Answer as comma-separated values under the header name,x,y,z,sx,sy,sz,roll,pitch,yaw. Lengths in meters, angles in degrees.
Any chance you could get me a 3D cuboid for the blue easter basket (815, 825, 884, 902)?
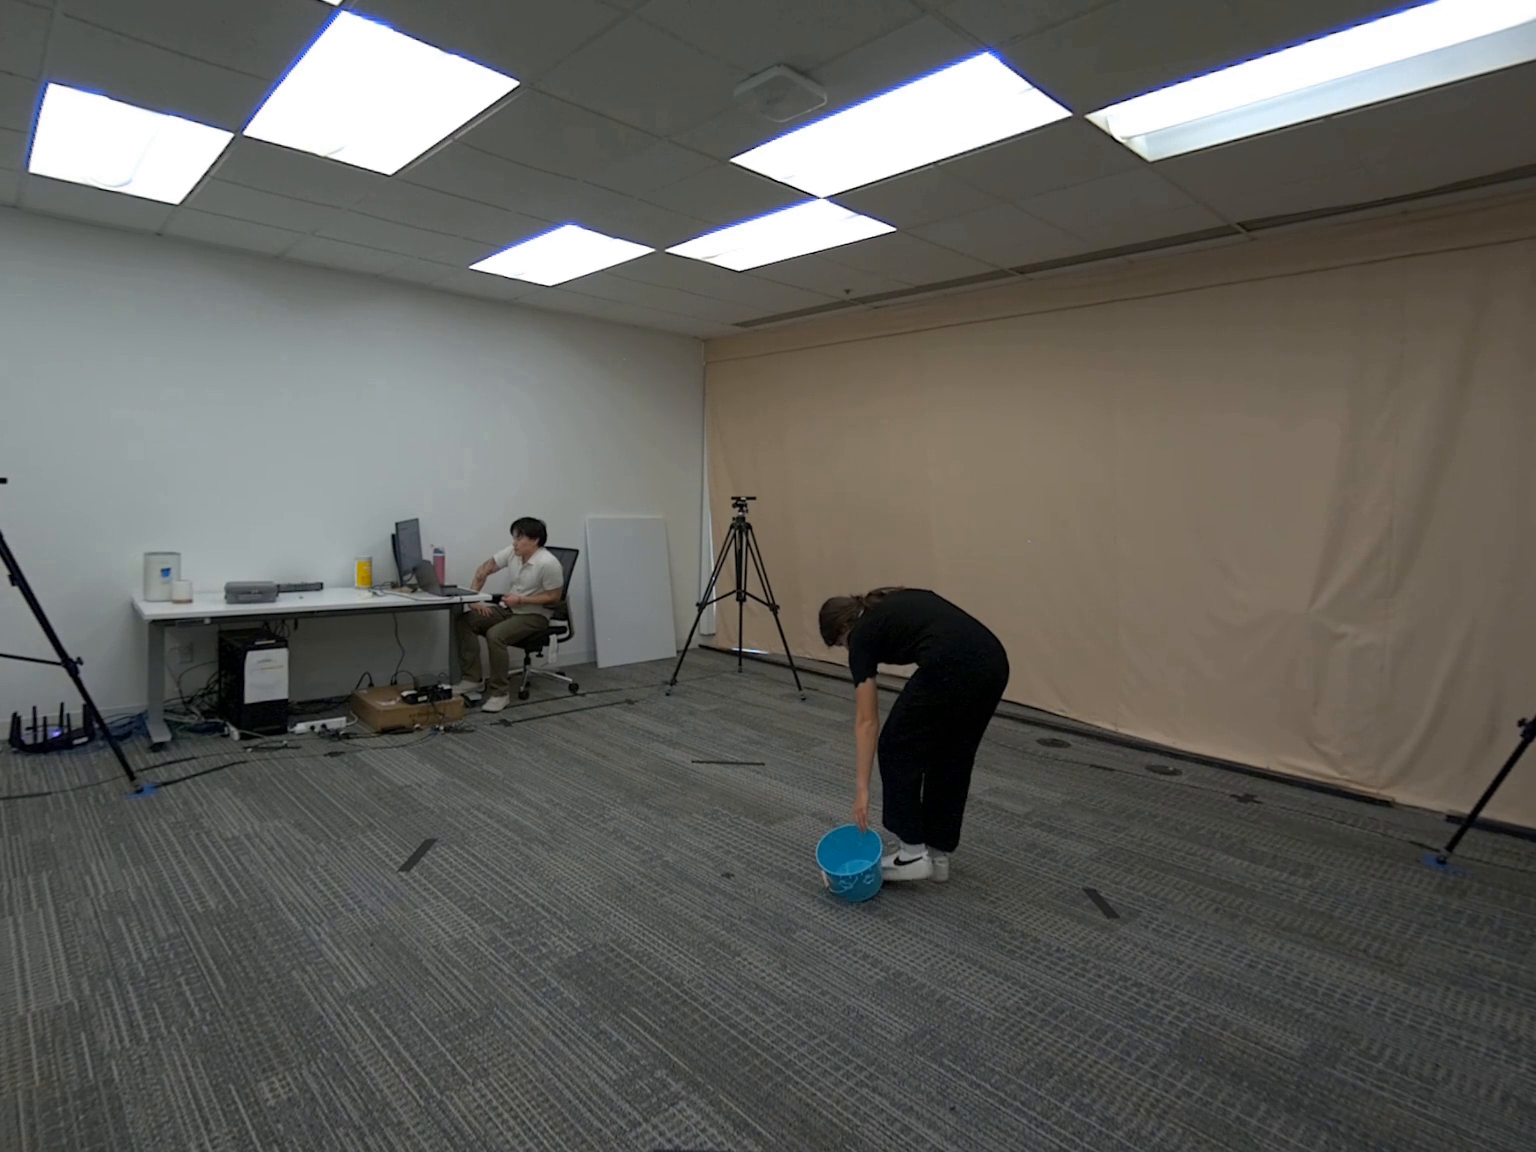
name,x,y,z,sx,sy,sz,roll,pitch,yaw
blue easter basket,0.291,1.022,2.963,0.244,0.152,0.248,-12,26,4
